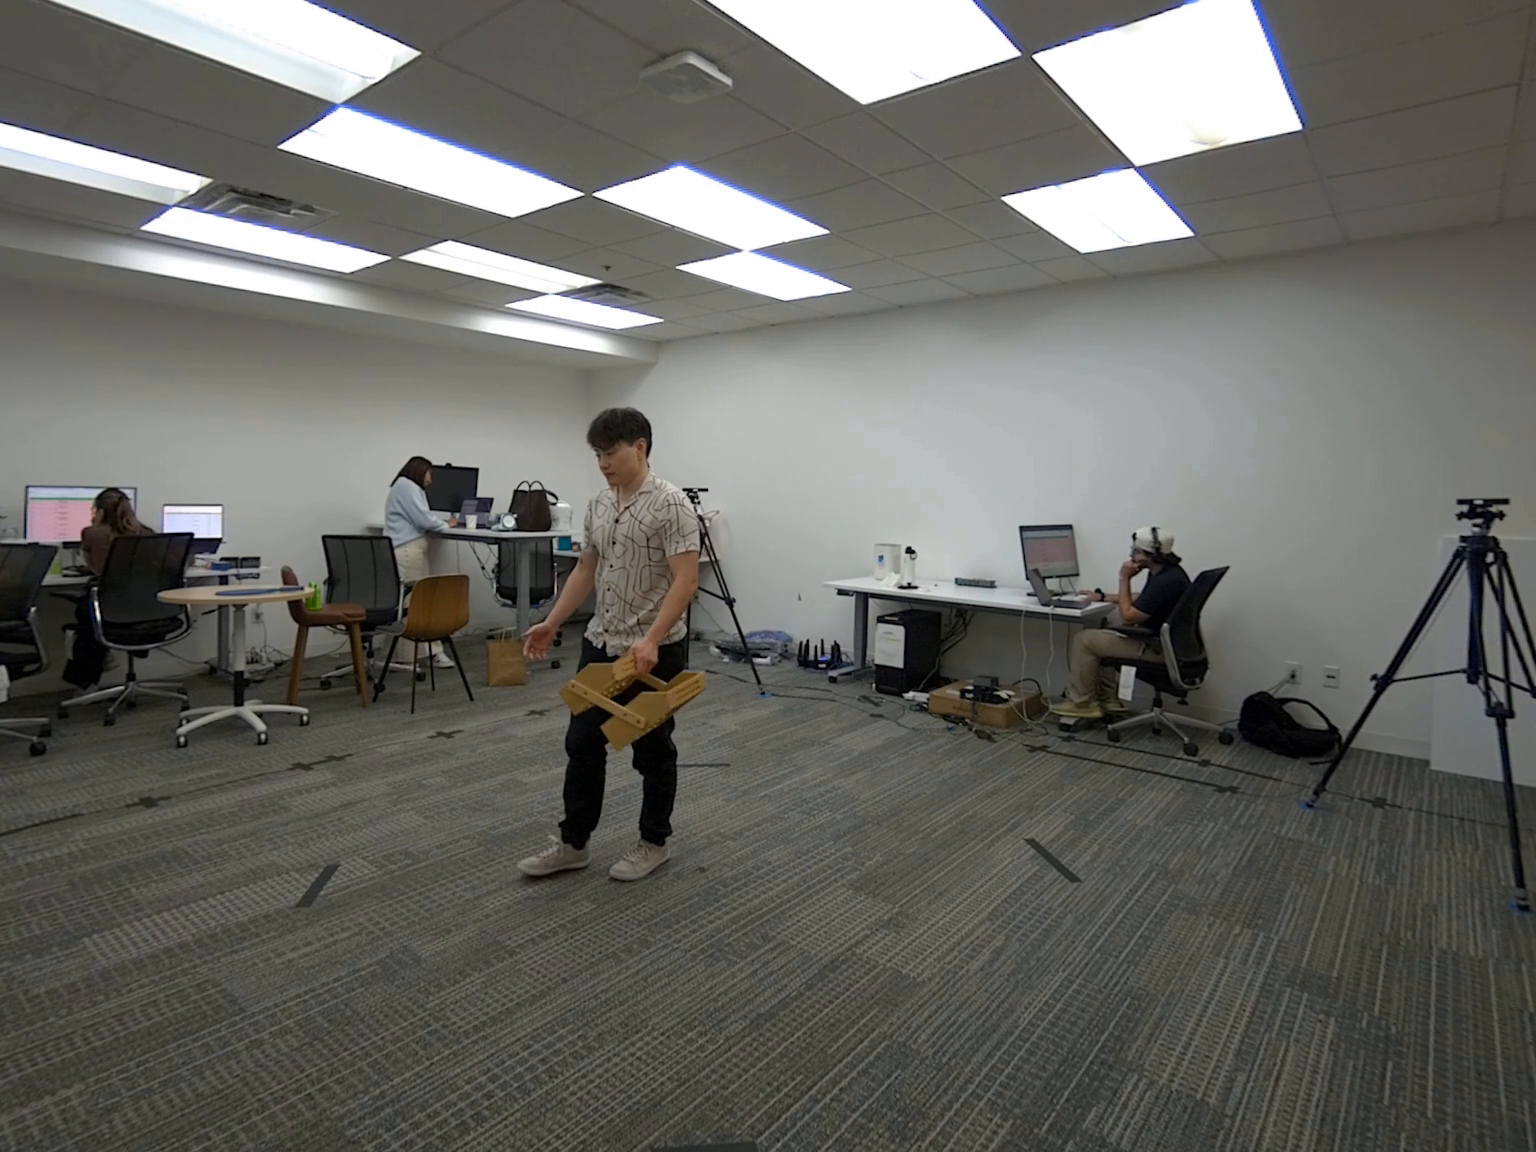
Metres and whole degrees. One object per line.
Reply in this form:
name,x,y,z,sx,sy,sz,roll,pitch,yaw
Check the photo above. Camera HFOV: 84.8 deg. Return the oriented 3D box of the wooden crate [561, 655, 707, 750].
wooden crate,-0.437,0.340,2.705,0.303,0.277,0.319,-41,-9,17
